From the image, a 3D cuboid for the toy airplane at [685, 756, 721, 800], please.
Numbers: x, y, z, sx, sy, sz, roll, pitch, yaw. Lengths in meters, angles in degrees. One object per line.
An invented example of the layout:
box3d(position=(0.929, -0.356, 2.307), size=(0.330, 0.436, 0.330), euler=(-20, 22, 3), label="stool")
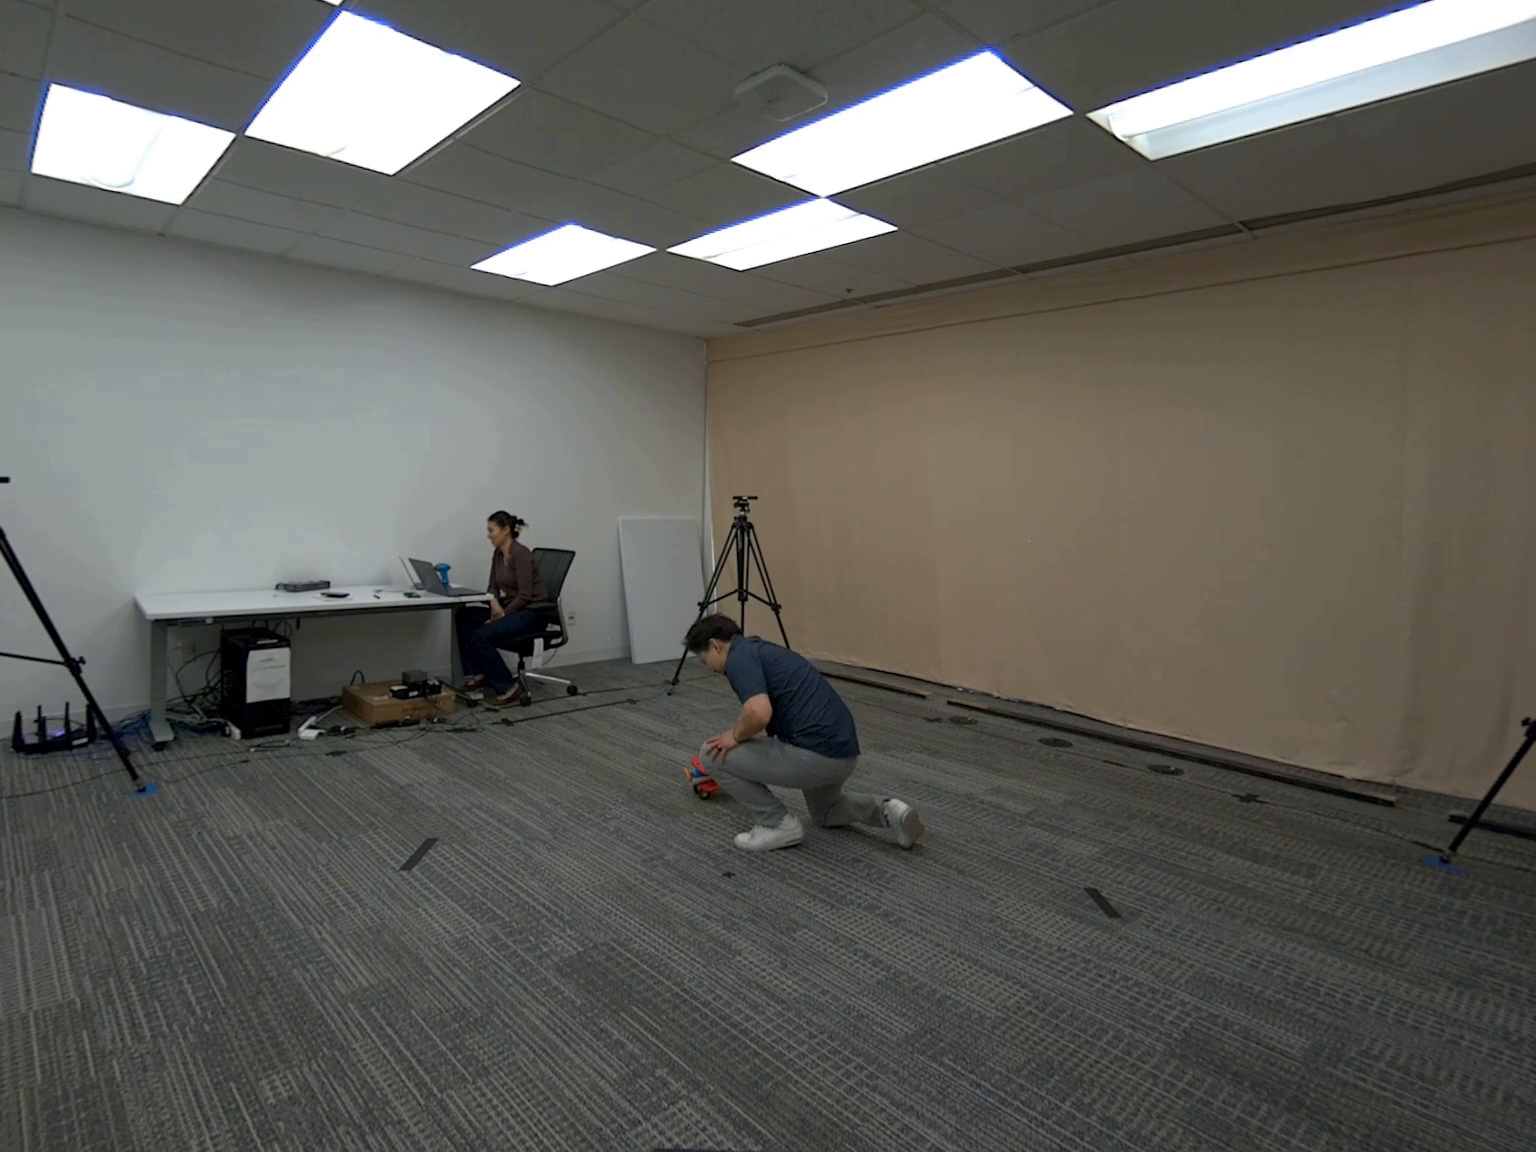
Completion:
box3d(position=(-0.274, 0.930, 3.961), size=(0.256, 0.155, 0.257), euler=(-9, 16, 43), label="toy airplane")
